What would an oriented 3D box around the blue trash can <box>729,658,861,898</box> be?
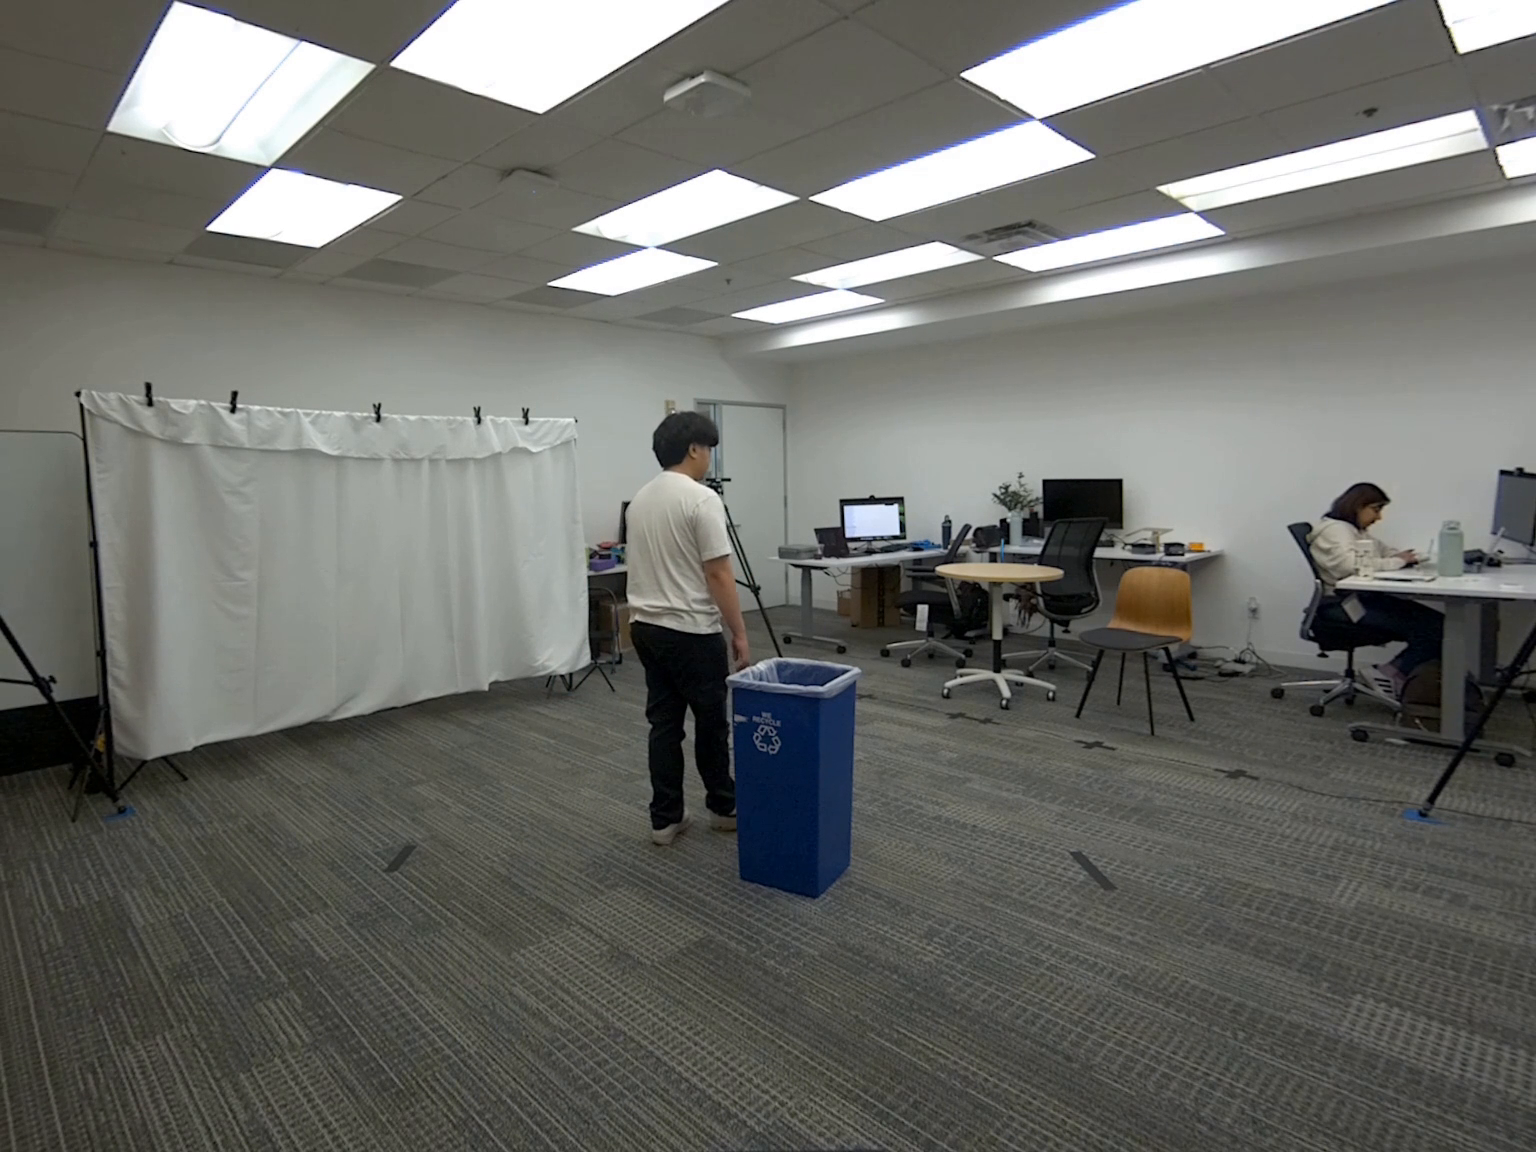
[{"bbox_3d":[0.105,0.692,3.008,0.384,0.711,0.370,1,4,29],"label":"blue trash can"}]
